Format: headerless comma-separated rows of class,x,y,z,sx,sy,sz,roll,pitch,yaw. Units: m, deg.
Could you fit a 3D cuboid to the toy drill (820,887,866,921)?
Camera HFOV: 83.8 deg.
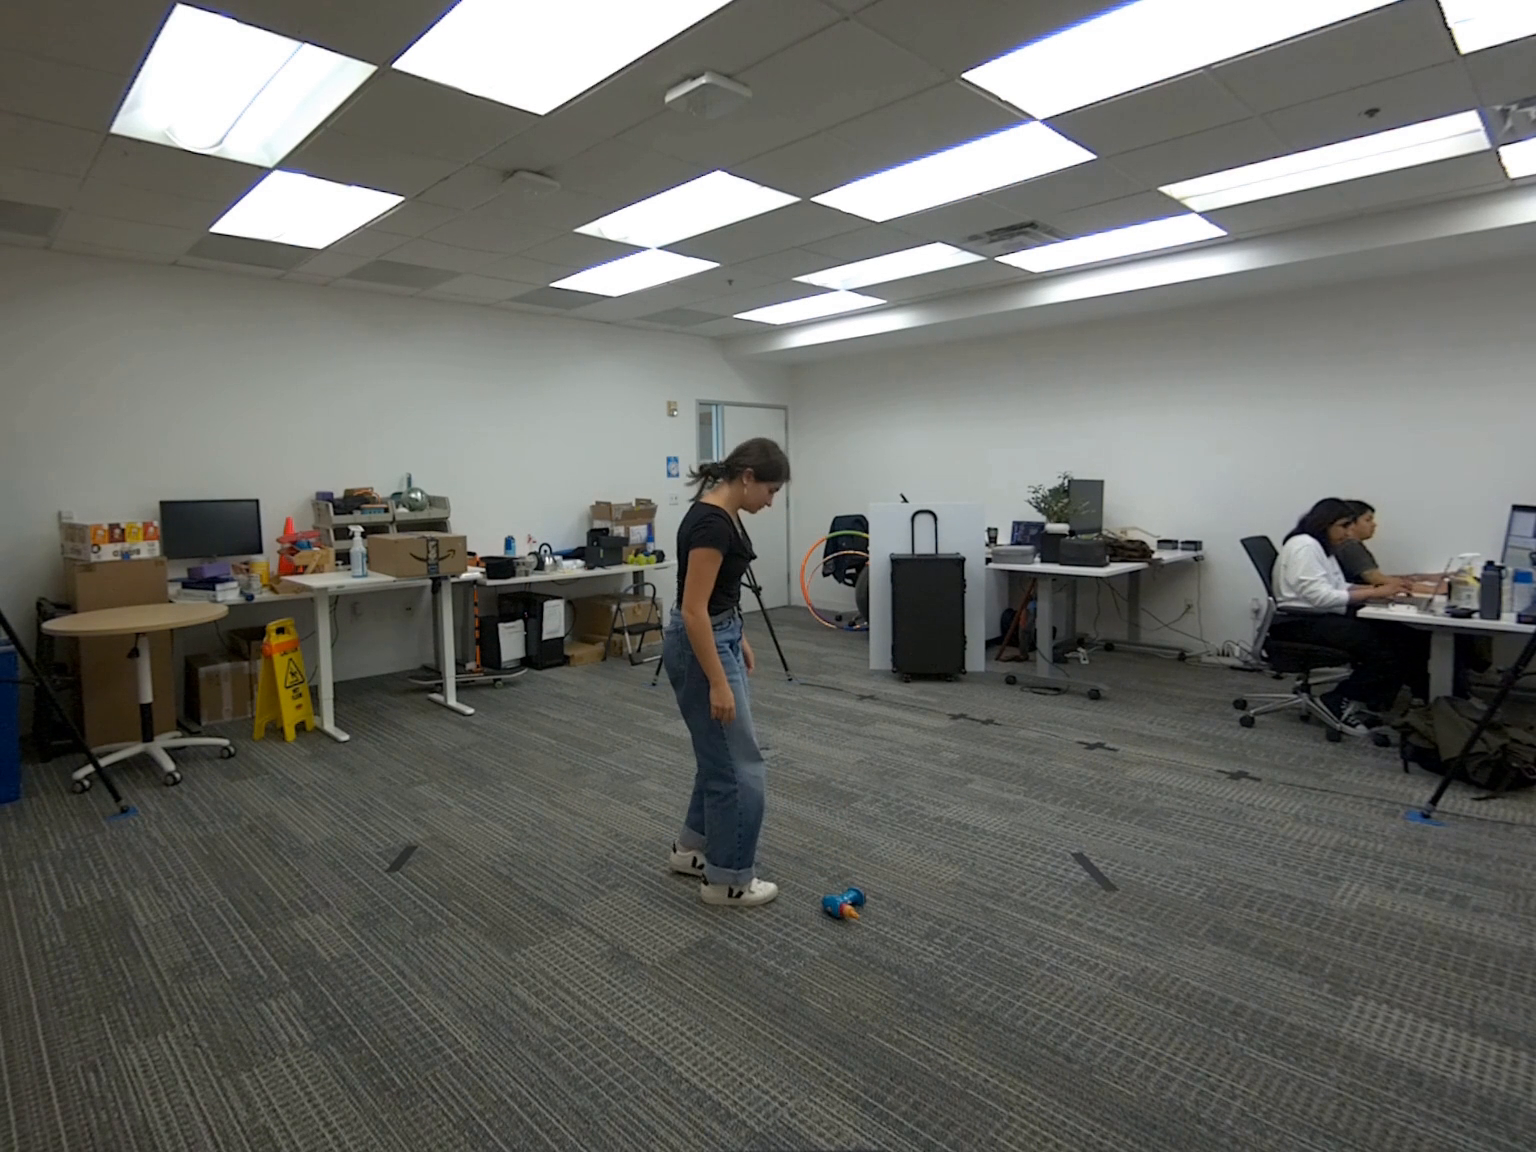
toy drill,0.261,1.048,2.727,0.142,0.061,0.174,-3,0,-33
